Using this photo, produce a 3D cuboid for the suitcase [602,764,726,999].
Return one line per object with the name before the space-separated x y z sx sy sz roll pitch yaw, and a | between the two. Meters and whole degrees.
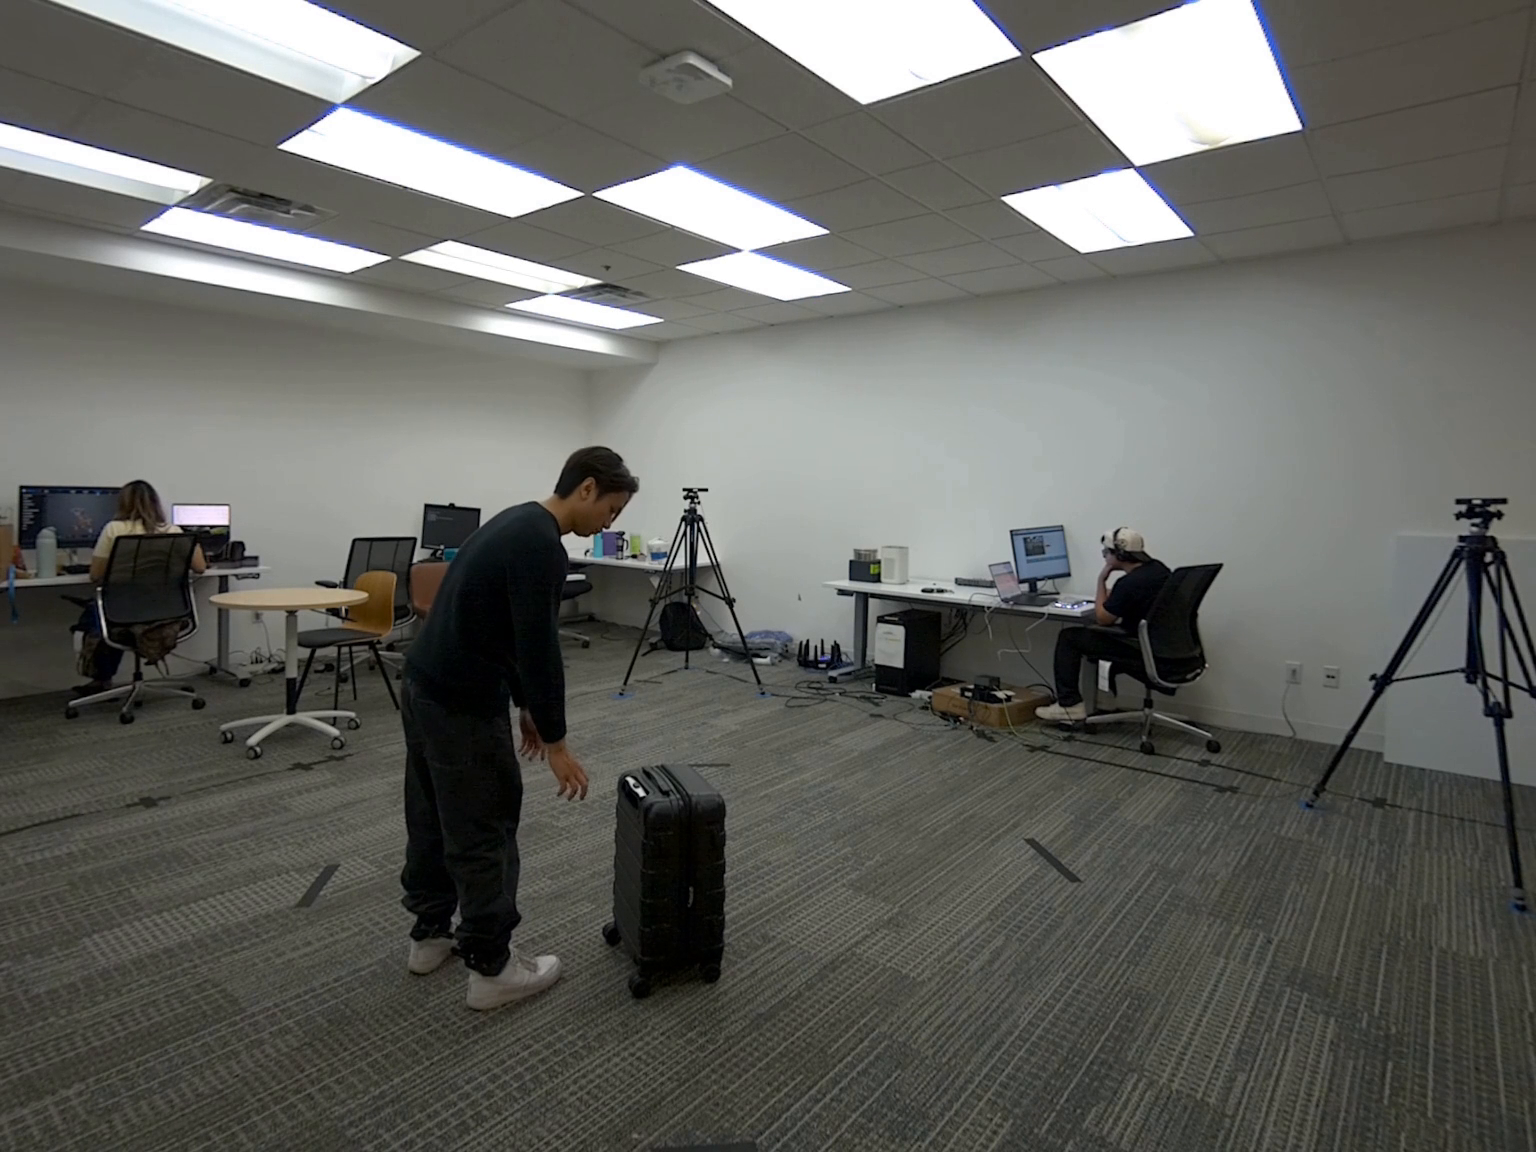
suitcase | -0.305 0.851 2.501 0.242 0.548 0.385 2 3 -24
